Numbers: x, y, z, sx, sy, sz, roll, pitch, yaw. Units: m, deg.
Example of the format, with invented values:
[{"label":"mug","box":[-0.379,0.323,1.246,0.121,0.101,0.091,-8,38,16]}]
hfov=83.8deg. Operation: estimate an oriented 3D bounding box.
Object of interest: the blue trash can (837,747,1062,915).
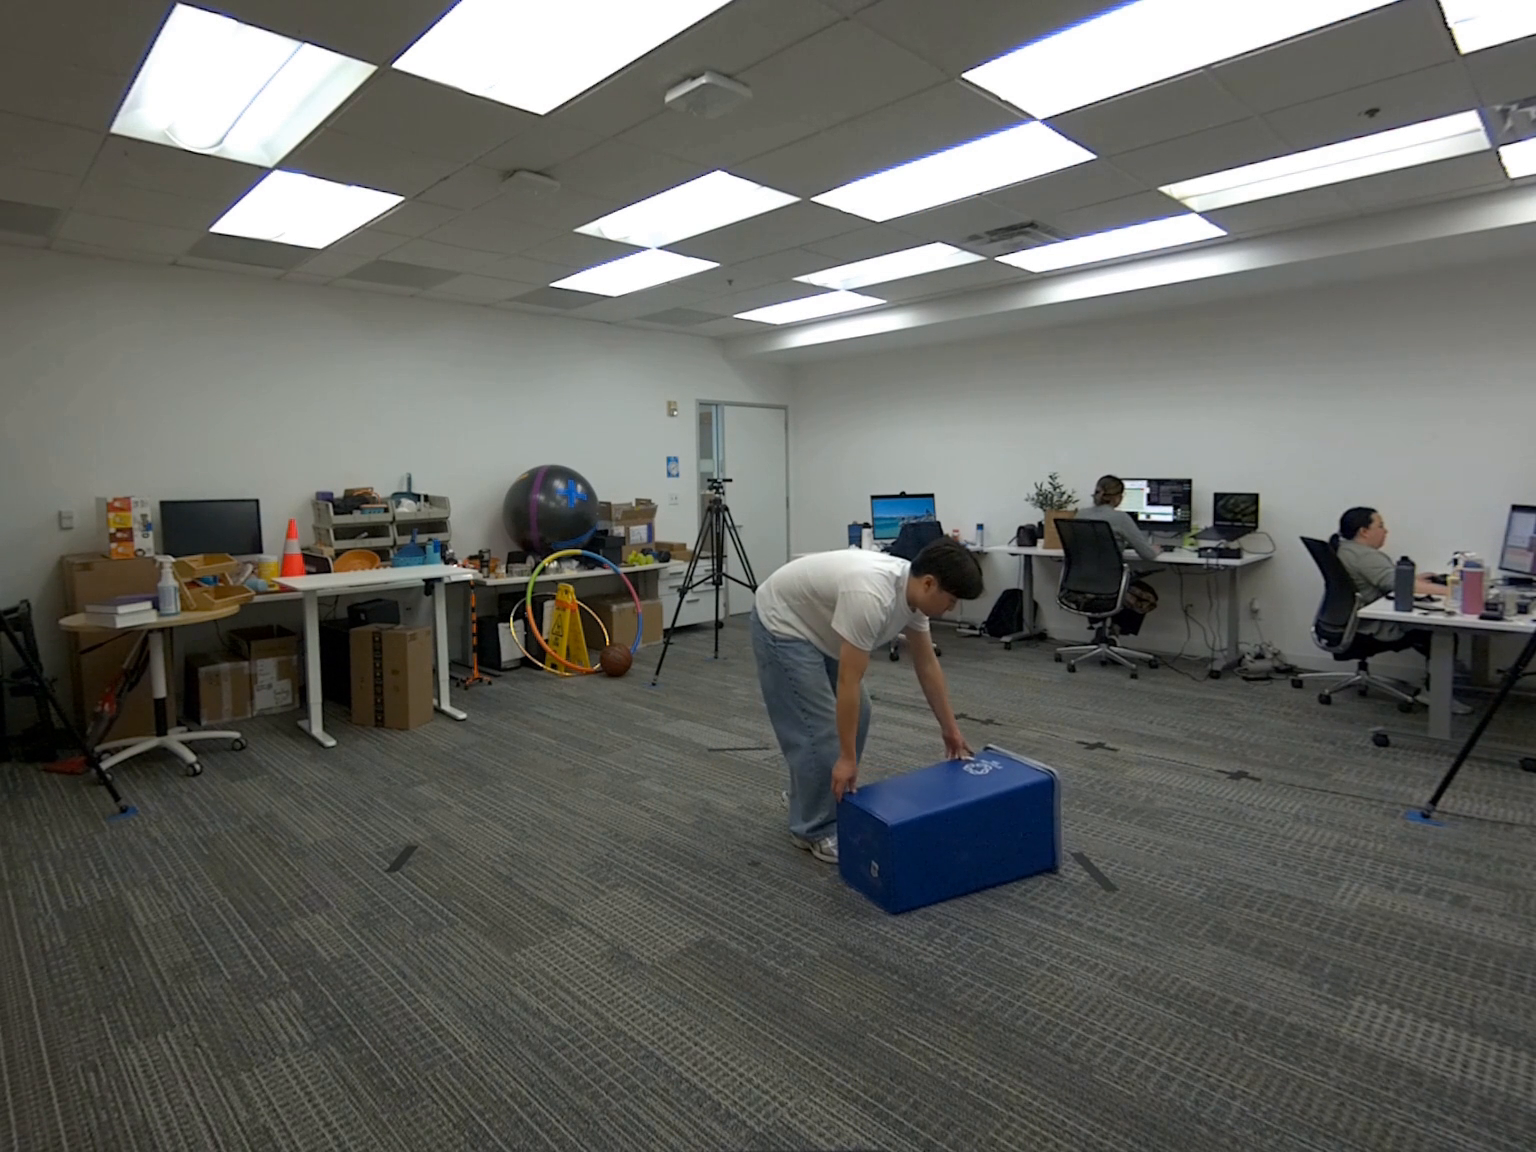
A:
[{"label":"blue trash can","box":[0.632,0.881,2.974,0.699,0.376,0.384,-8,8,-27]}]
